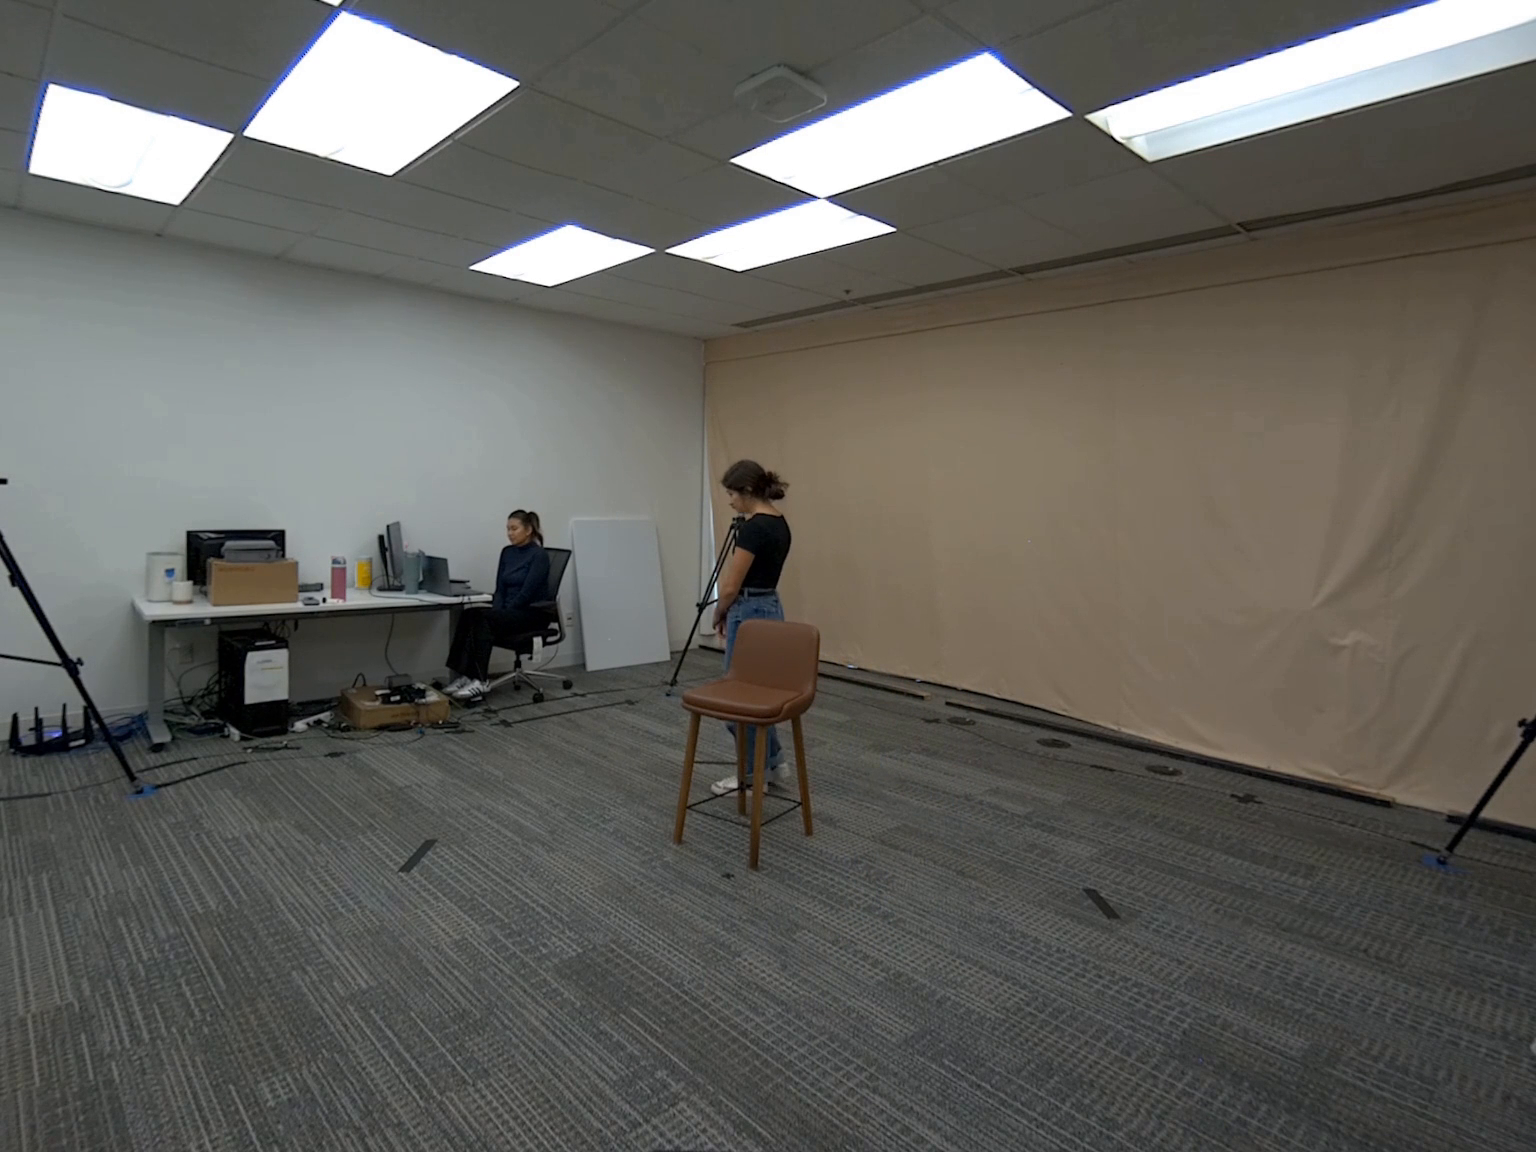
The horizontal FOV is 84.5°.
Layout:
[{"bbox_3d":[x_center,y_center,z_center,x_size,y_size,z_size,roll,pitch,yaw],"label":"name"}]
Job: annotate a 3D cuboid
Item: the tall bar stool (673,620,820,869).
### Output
[{"bbox_3d":[-0.083,0.645,3.433,0.467,0.889,0.457,3,2,37],"label":"tall bar stool"}]
